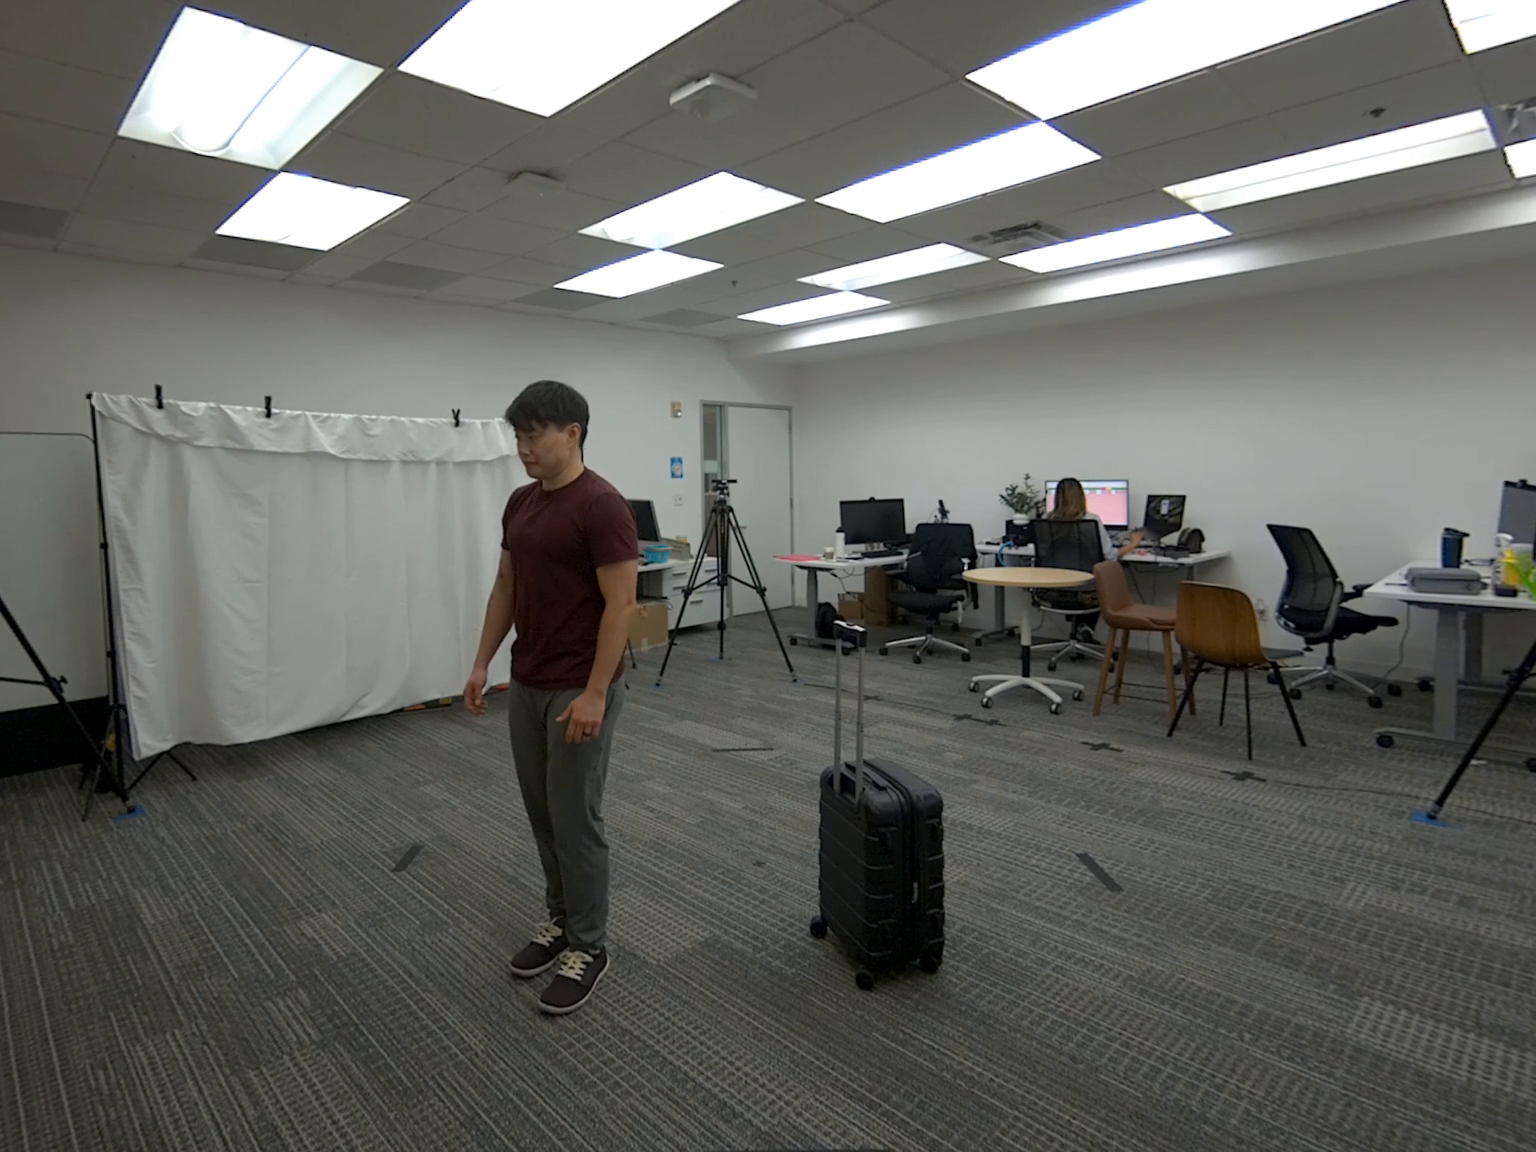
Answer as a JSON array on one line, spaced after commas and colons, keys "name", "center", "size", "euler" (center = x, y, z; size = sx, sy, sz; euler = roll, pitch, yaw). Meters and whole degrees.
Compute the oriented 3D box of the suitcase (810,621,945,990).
[{"name": "suitcase", "center": [0.333, 0.634, 2.485], "size": [0.252, 0.975, 0.392], "euler": [1, 4, -20]}]
